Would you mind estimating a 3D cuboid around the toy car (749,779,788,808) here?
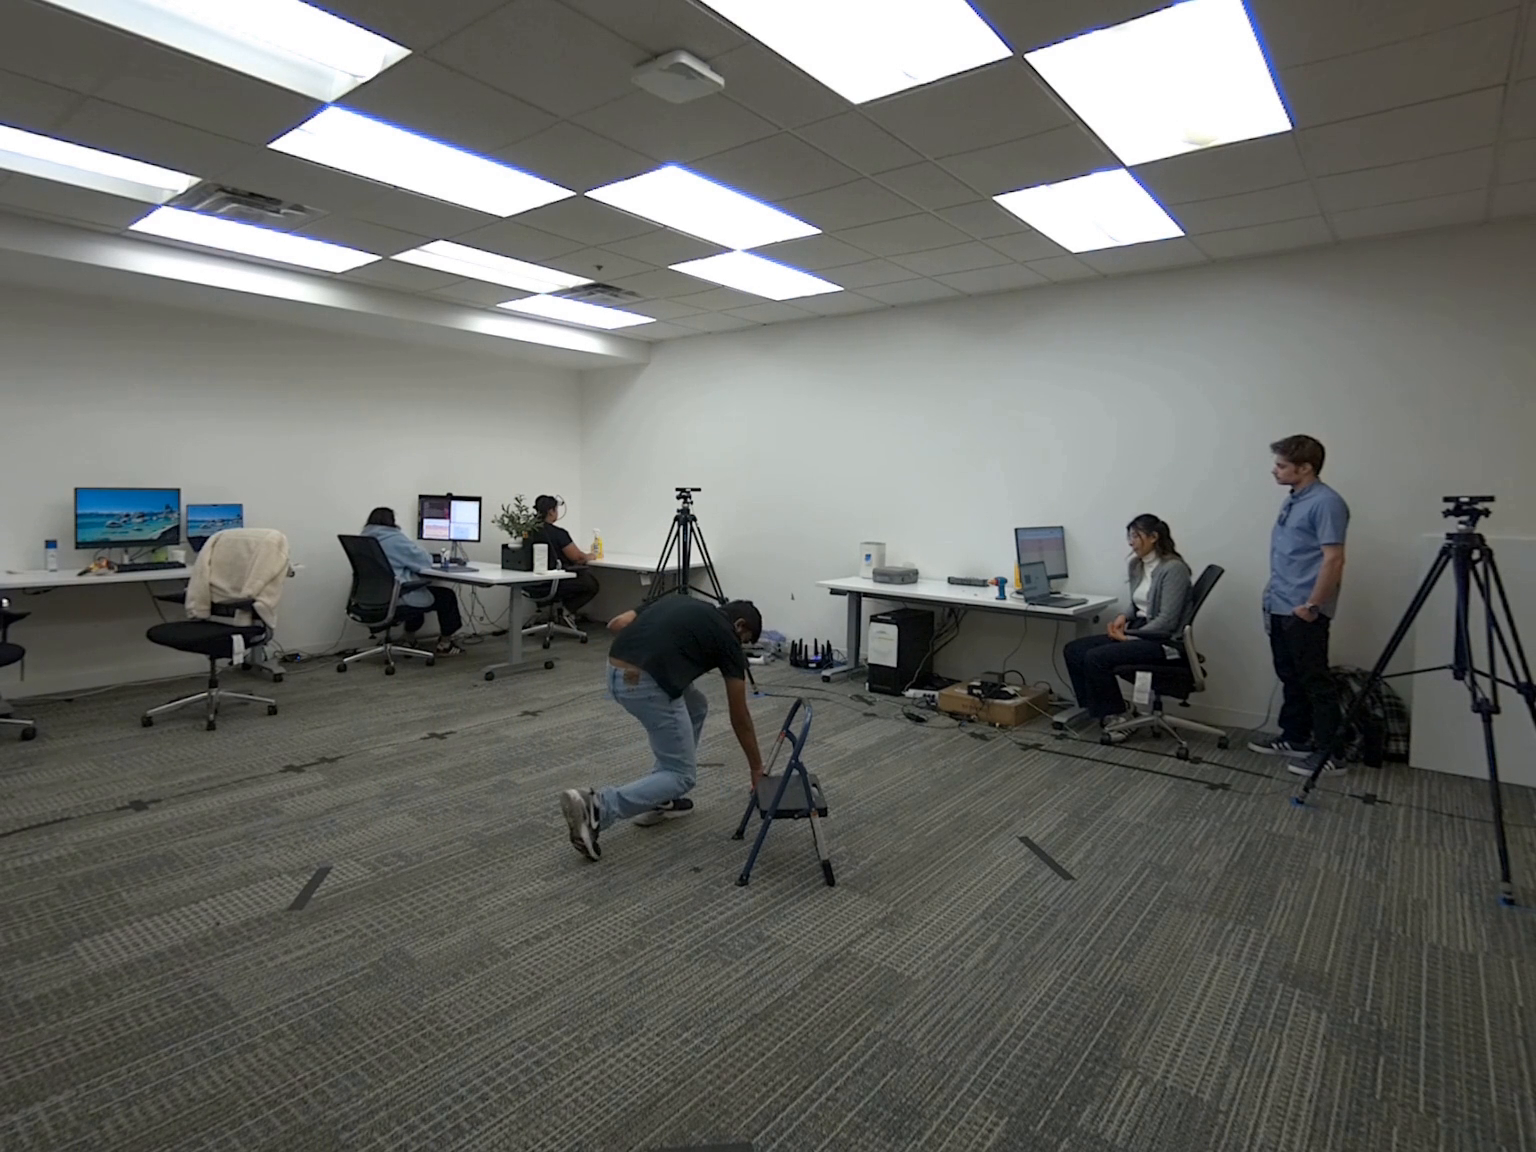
[{"bbox_3d":[-0.003,0.974,3.782,0.129,0.084,0.255,1,-5,-9],"label":"toy car"}]
